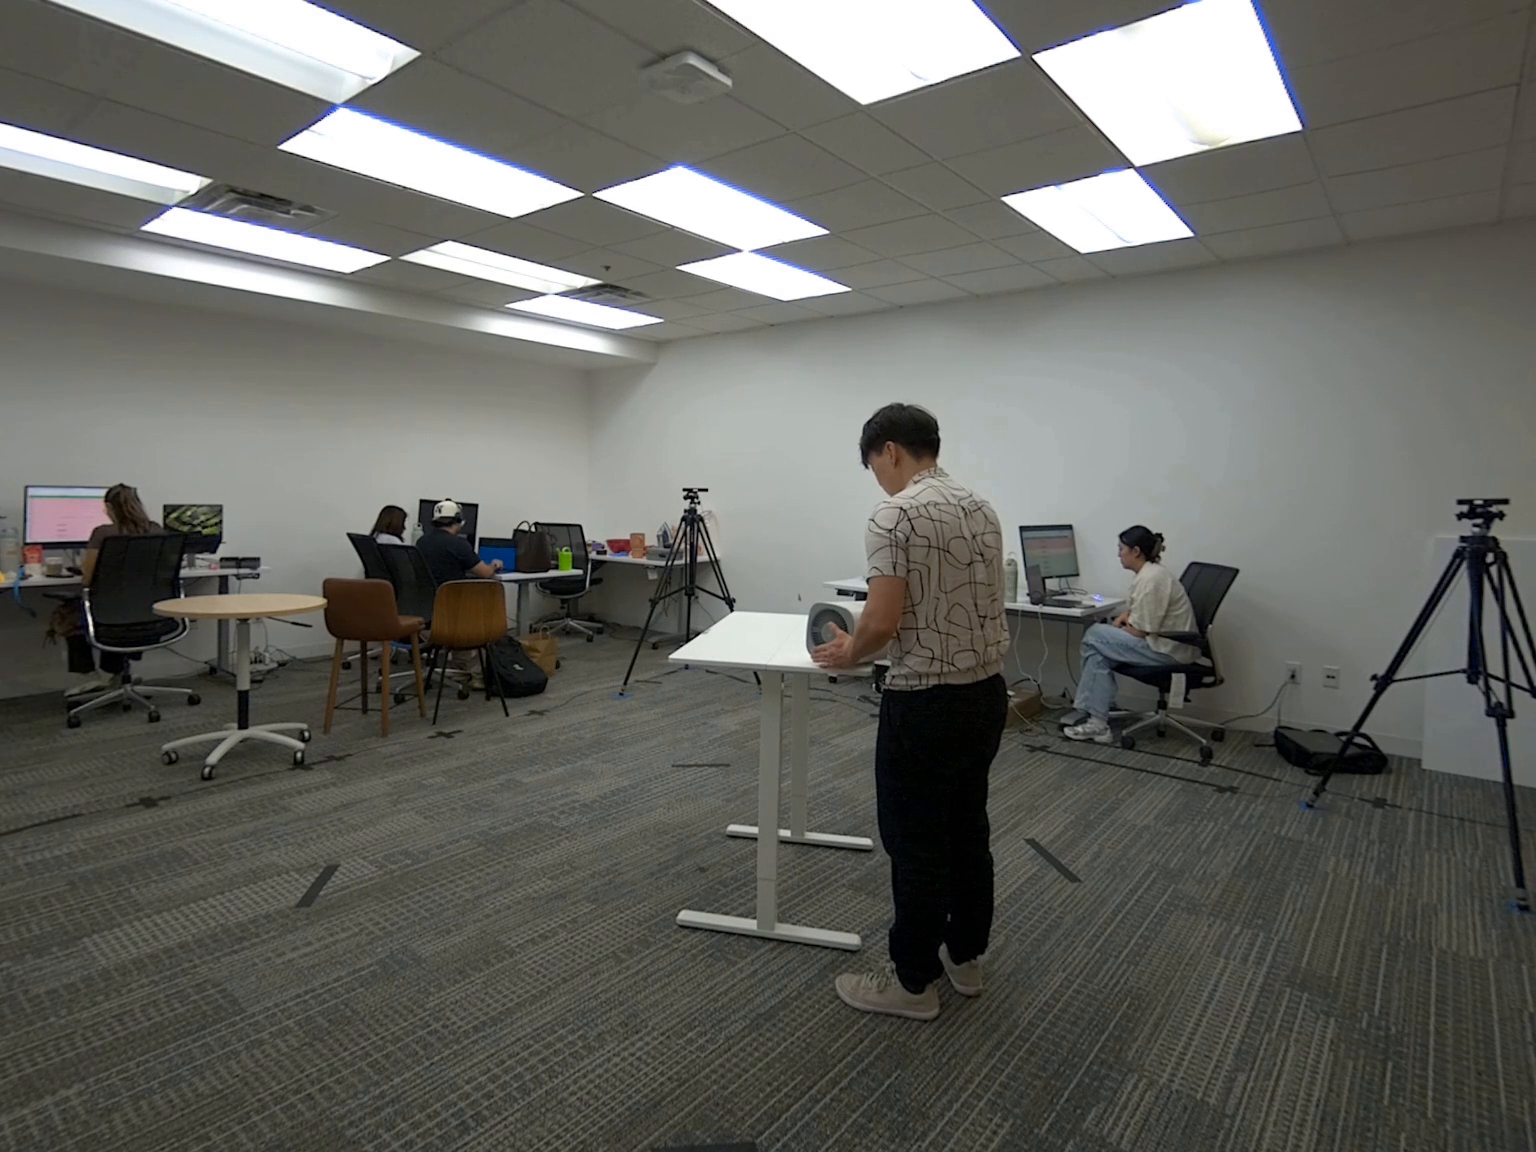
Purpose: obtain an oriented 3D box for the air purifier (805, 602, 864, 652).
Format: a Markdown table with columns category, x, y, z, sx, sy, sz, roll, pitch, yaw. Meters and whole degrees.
| category | x | y | z | sx | sy | sz | roll | pitch | yaw |
| --- | --- | --- | --- | --- | --- | --- | --- | --- | --- |
| air purifier | 0.260 | 0.157 | 2.540 | 0.178 | 0.170 | 0.257 | 13 | 6 | 38 |
